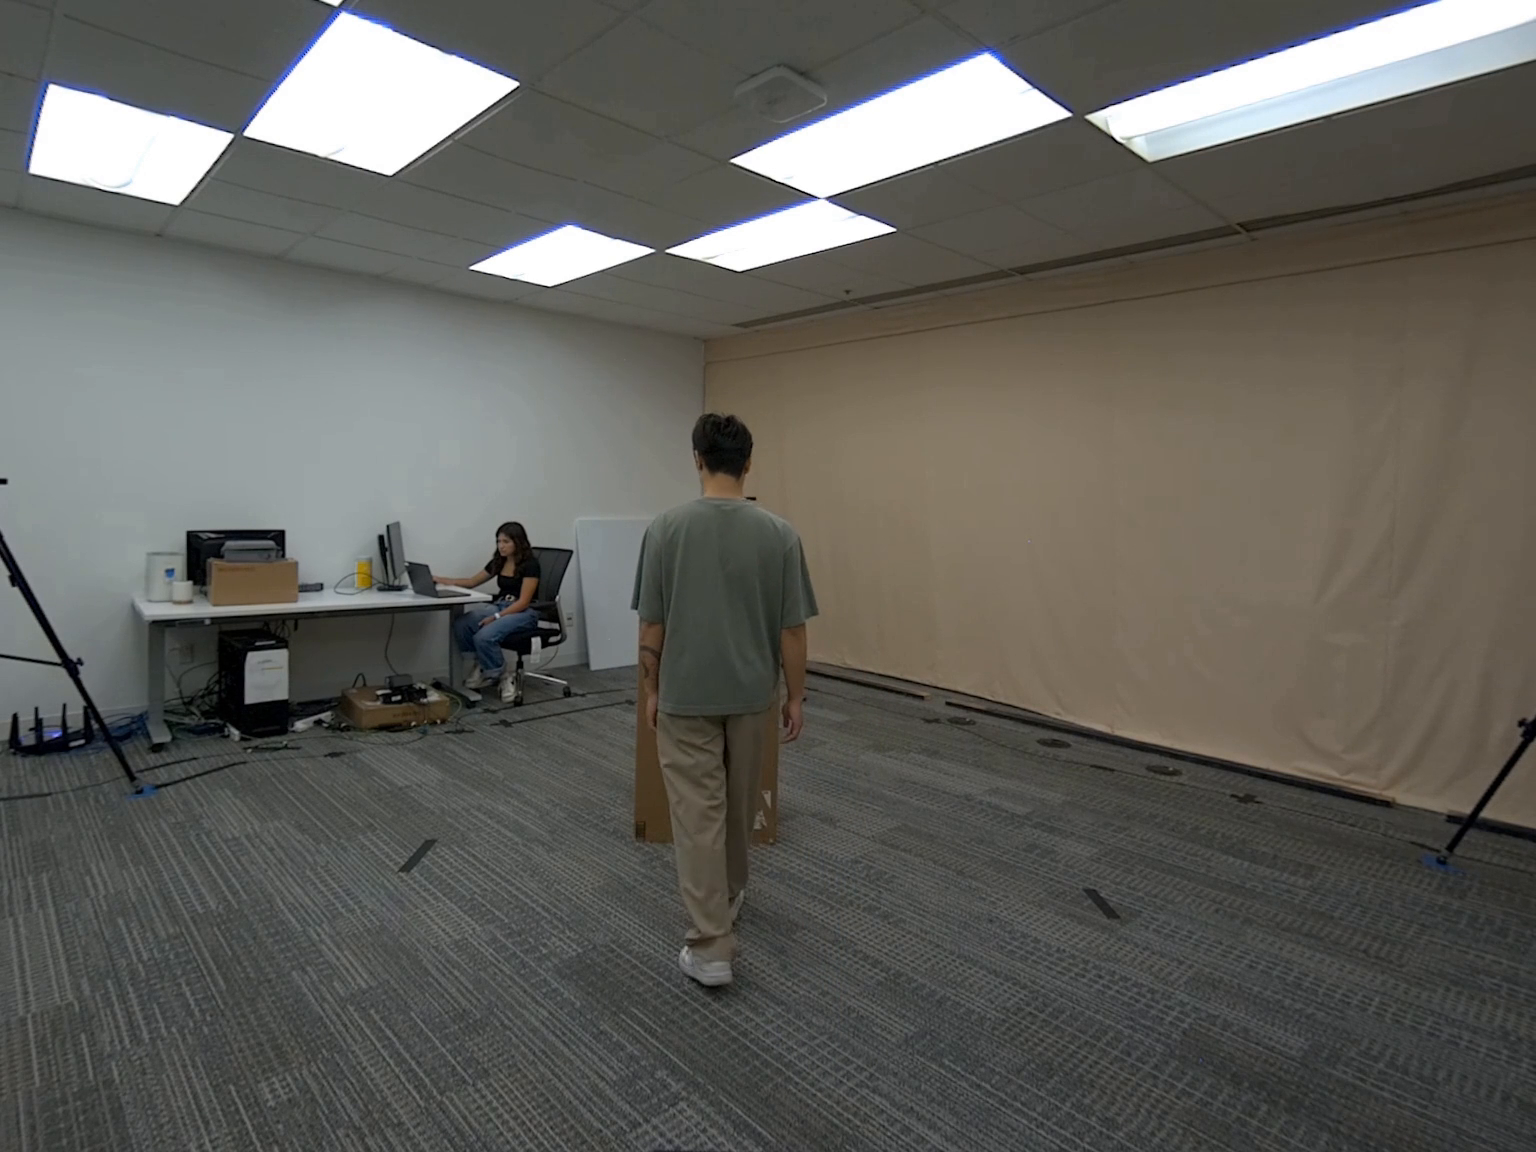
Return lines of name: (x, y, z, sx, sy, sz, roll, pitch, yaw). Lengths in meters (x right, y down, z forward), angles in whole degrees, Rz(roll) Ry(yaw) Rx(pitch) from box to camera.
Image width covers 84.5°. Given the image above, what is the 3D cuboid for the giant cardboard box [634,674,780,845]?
giant cardboard box: (-0.256, 0.557, 3.583, 0.576, 1.024, 0.428, 2, 3, -3)
